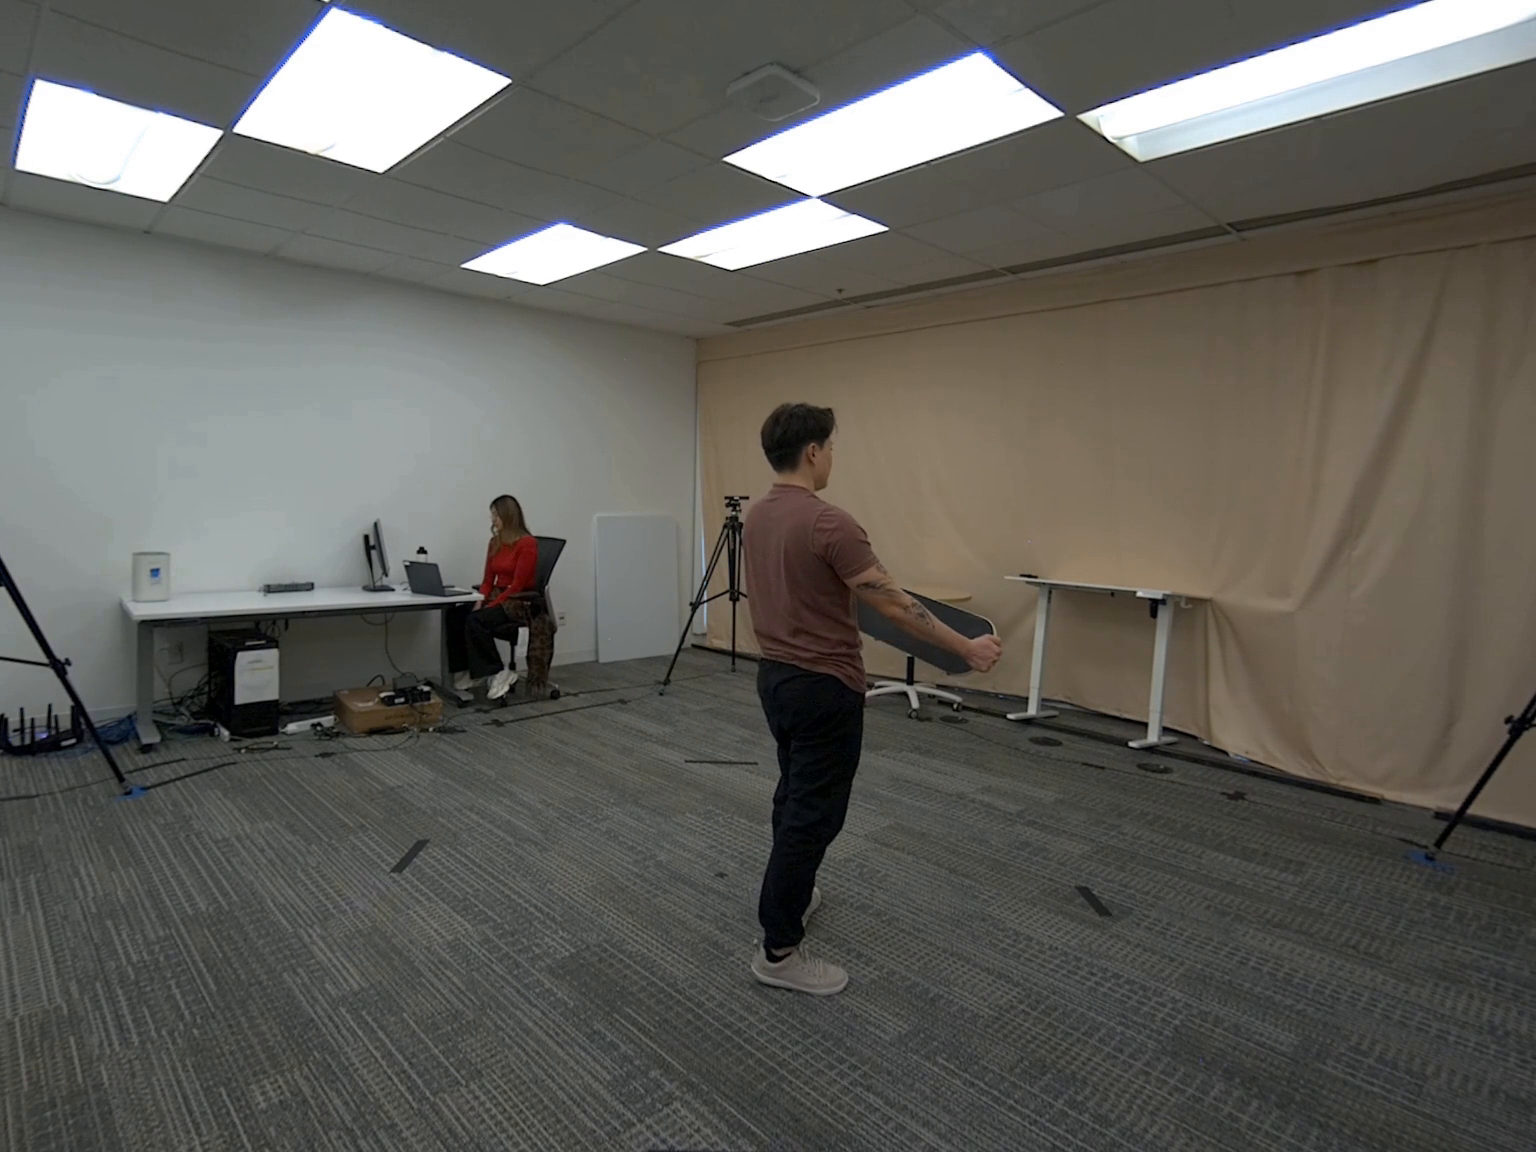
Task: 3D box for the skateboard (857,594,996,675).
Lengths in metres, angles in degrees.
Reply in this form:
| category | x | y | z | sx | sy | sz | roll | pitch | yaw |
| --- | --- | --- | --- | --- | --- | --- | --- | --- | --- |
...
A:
| category | x | y | z | sx | sy | sz | roll | pitch | yaw |
| --- | --- | --- | --- | --- | --- | --- | --- | --- | --- |
| skateboard | 0.464 | 0.168 | 2.740 | 0.107 | 0.194 | 0.805 | 28 | -4 | -30 |
